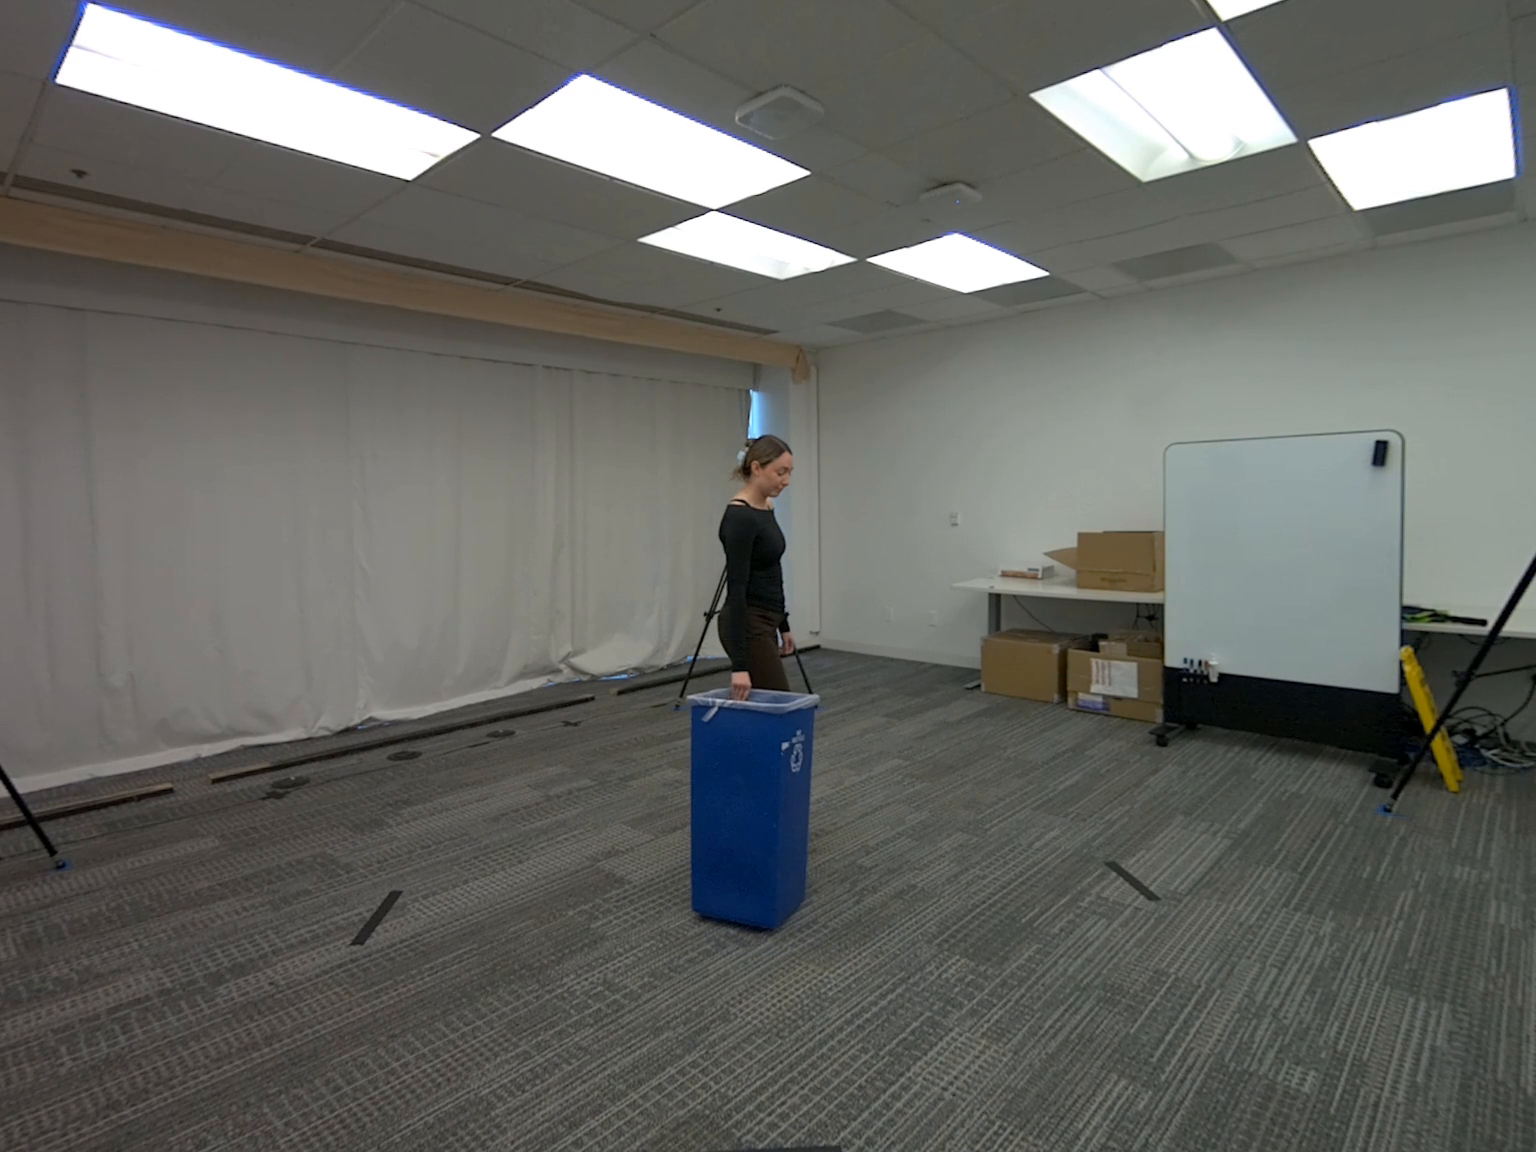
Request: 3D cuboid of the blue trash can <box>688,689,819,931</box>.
[{"bbox_3d":[-0.048,0.770,2.911,0.388,0.714,0.364,1,-2,25],"label":"blue trash can"}]
